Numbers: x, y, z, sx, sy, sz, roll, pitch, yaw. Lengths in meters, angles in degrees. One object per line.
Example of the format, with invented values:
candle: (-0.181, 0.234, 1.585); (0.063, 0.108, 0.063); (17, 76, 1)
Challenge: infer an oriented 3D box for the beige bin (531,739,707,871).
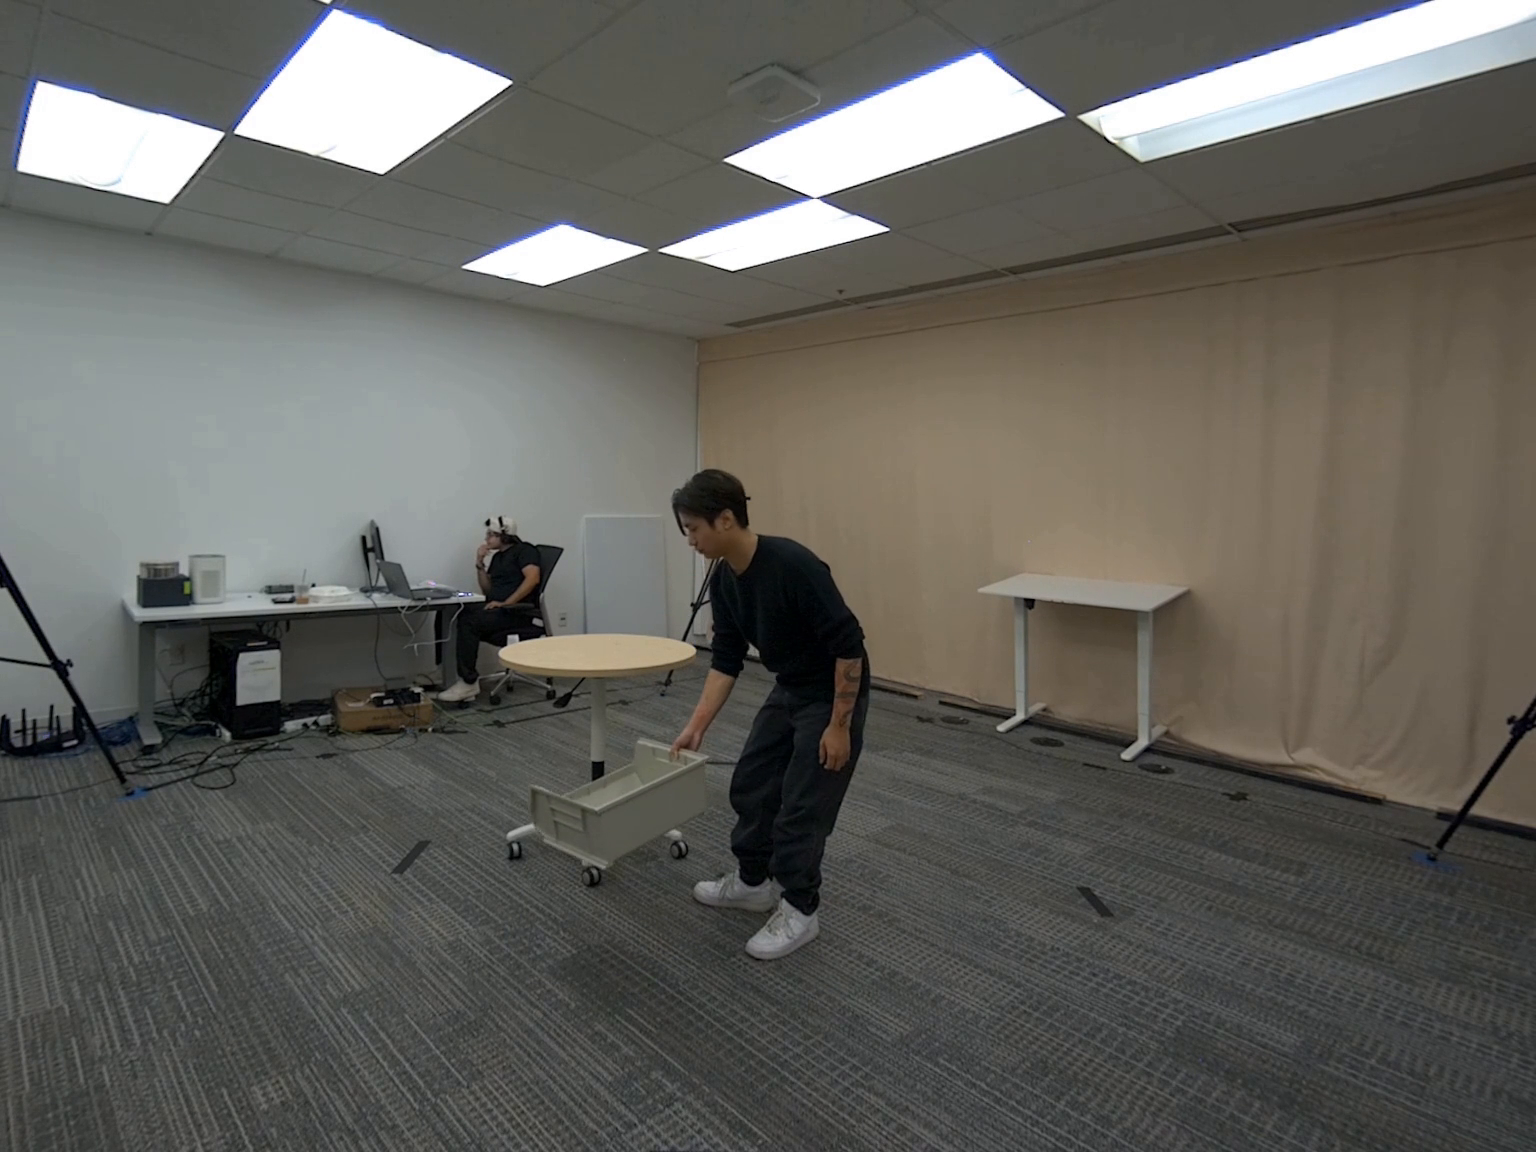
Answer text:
beige bin: (-0.454, 0.672, 2.549); (0.386, 0.188, 0.414); (1, 10, 44)
